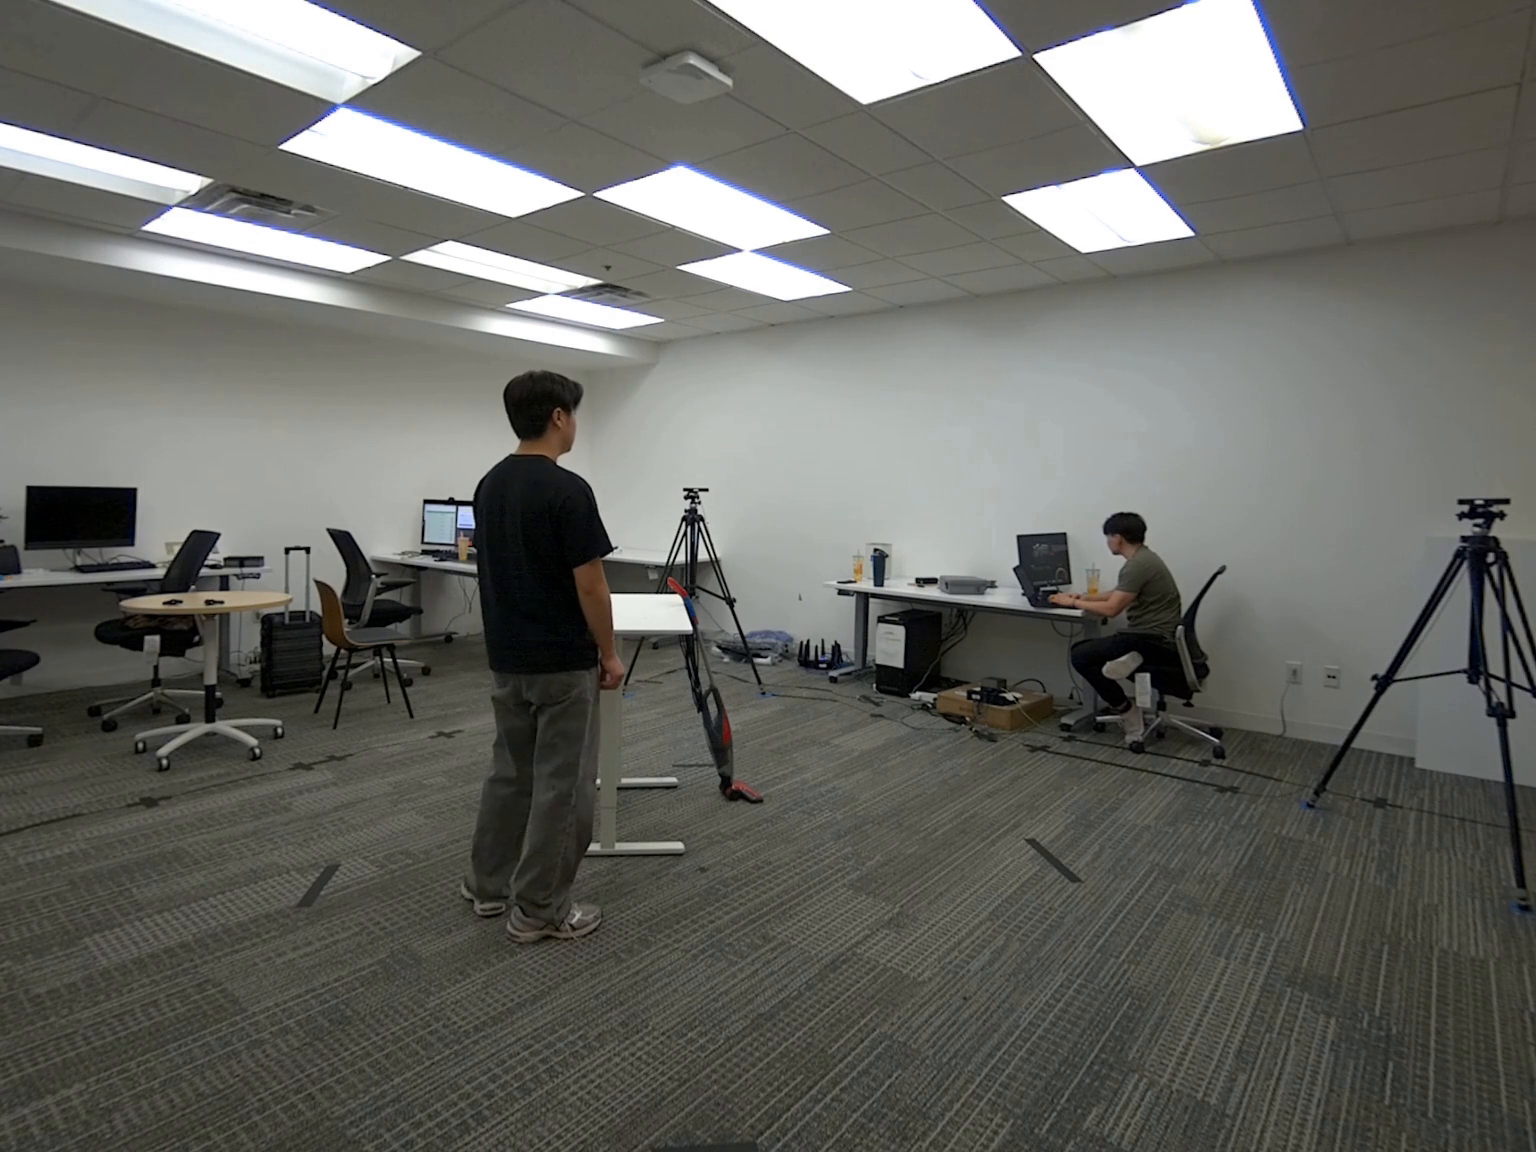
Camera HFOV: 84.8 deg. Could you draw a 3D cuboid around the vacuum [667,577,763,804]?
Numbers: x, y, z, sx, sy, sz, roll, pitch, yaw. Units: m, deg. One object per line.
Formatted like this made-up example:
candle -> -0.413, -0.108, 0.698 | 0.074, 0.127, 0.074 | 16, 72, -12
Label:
vacuum -> -0.289, 0.510, 3.796 | 0.142, 1.037, 0.259 | -21, 11, -23
